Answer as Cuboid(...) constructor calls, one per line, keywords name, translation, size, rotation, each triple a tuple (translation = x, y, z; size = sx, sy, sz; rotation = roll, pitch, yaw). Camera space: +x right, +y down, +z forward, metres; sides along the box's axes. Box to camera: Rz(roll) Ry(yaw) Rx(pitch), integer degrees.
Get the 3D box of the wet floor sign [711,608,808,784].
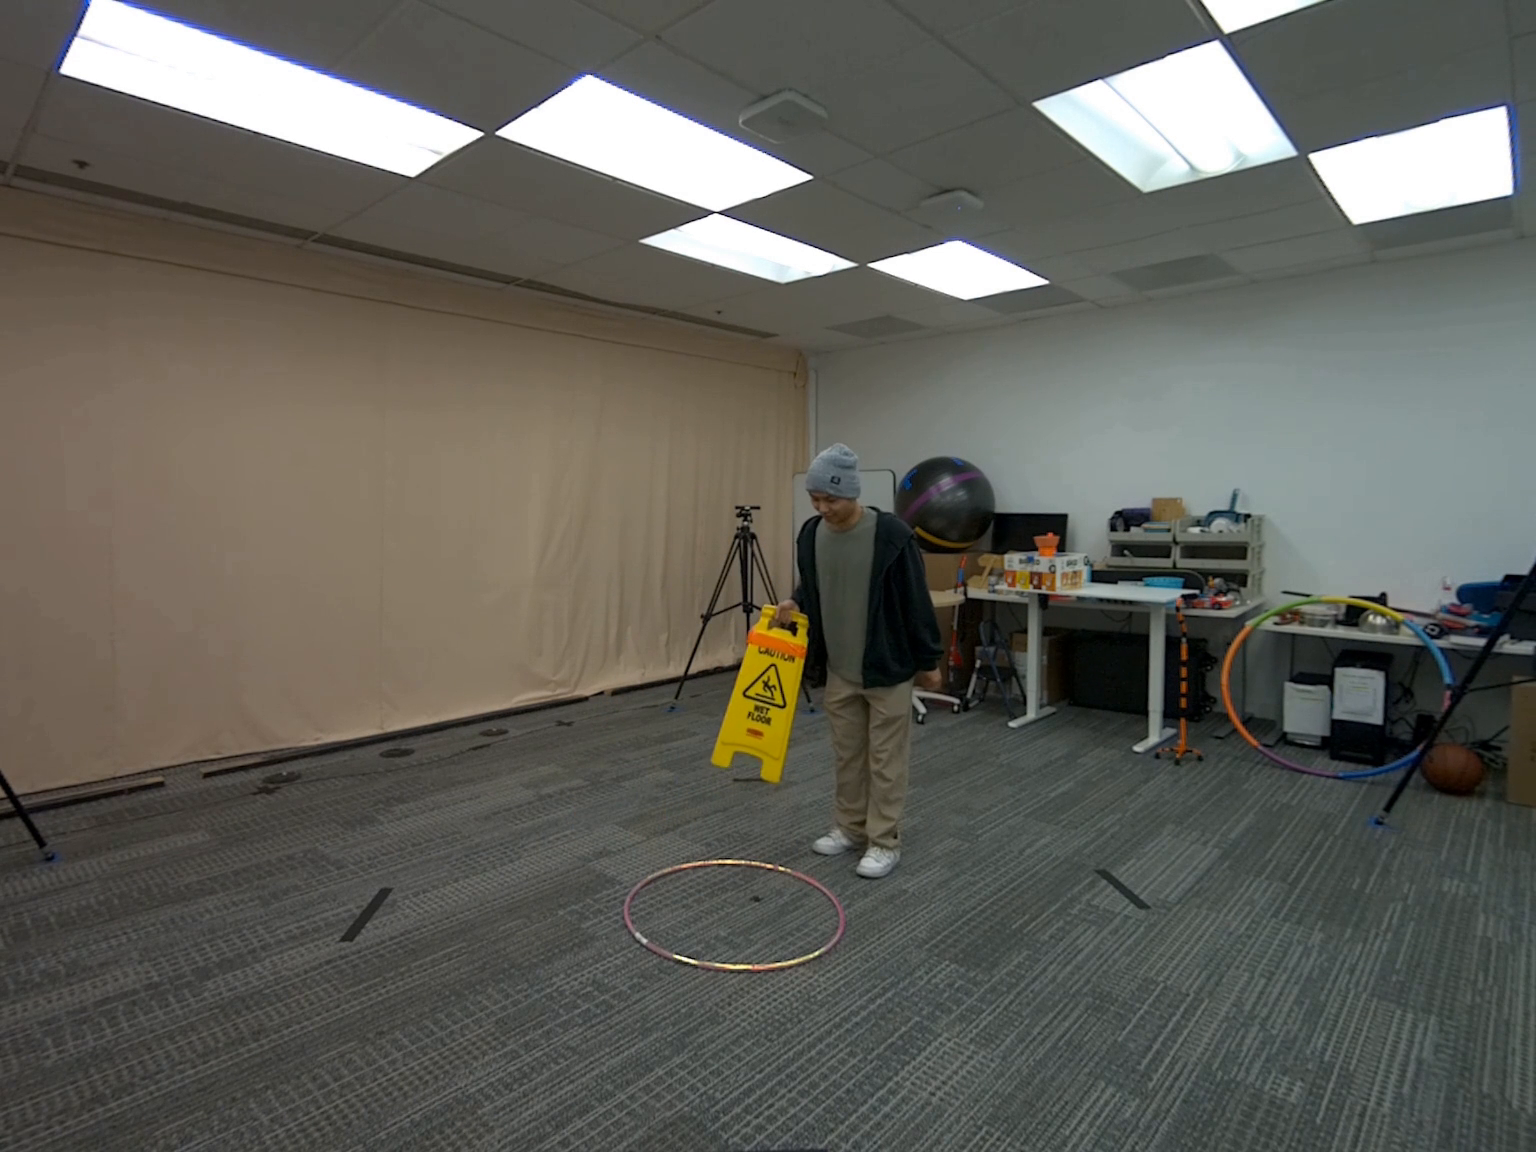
Cuboid(name="wet floor sign", translation=(0.005, 0.453, 3.391), size=(0.285, 0.645, 0.288), rotation=(14, 5, 6))
